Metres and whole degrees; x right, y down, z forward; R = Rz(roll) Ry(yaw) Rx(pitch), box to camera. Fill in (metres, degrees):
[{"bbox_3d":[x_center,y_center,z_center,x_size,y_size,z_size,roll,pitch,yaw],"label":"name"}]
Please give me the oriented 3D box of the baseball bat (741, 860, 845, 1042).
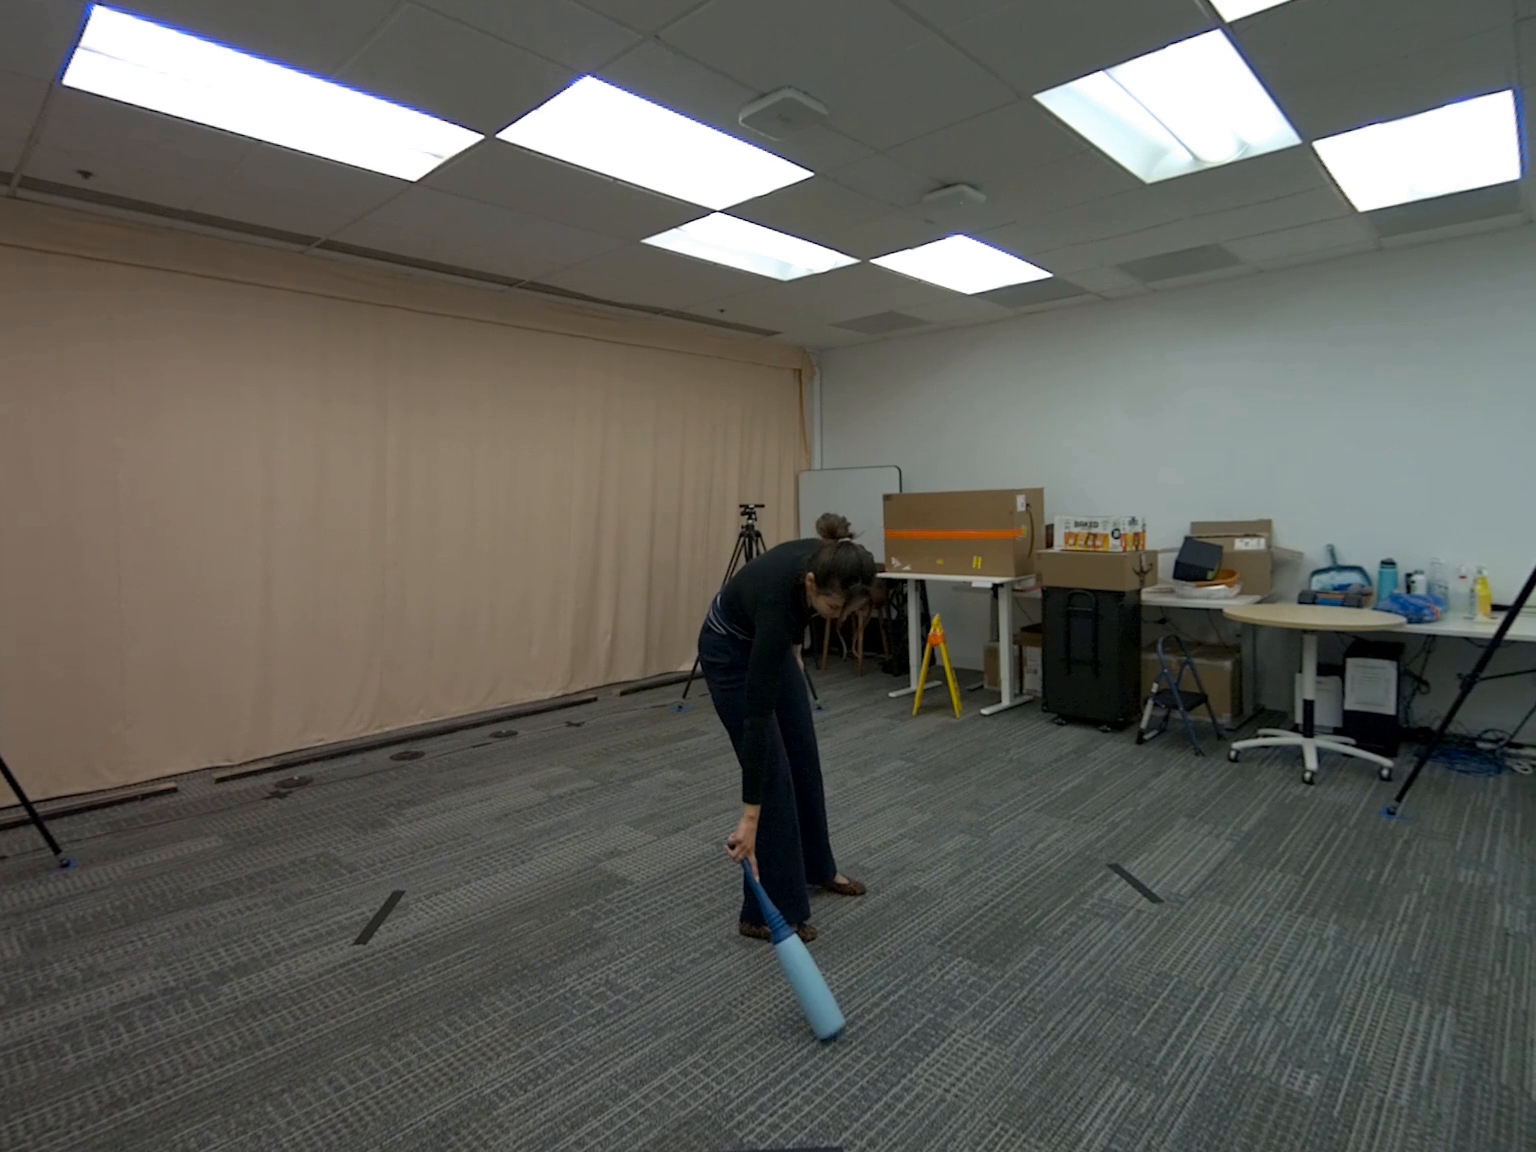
[{"bbox_3d":[0.045,0.963,2.292,0.088,0.555,0.088,-26,-22,-13],"label":"baseball bat"}]
